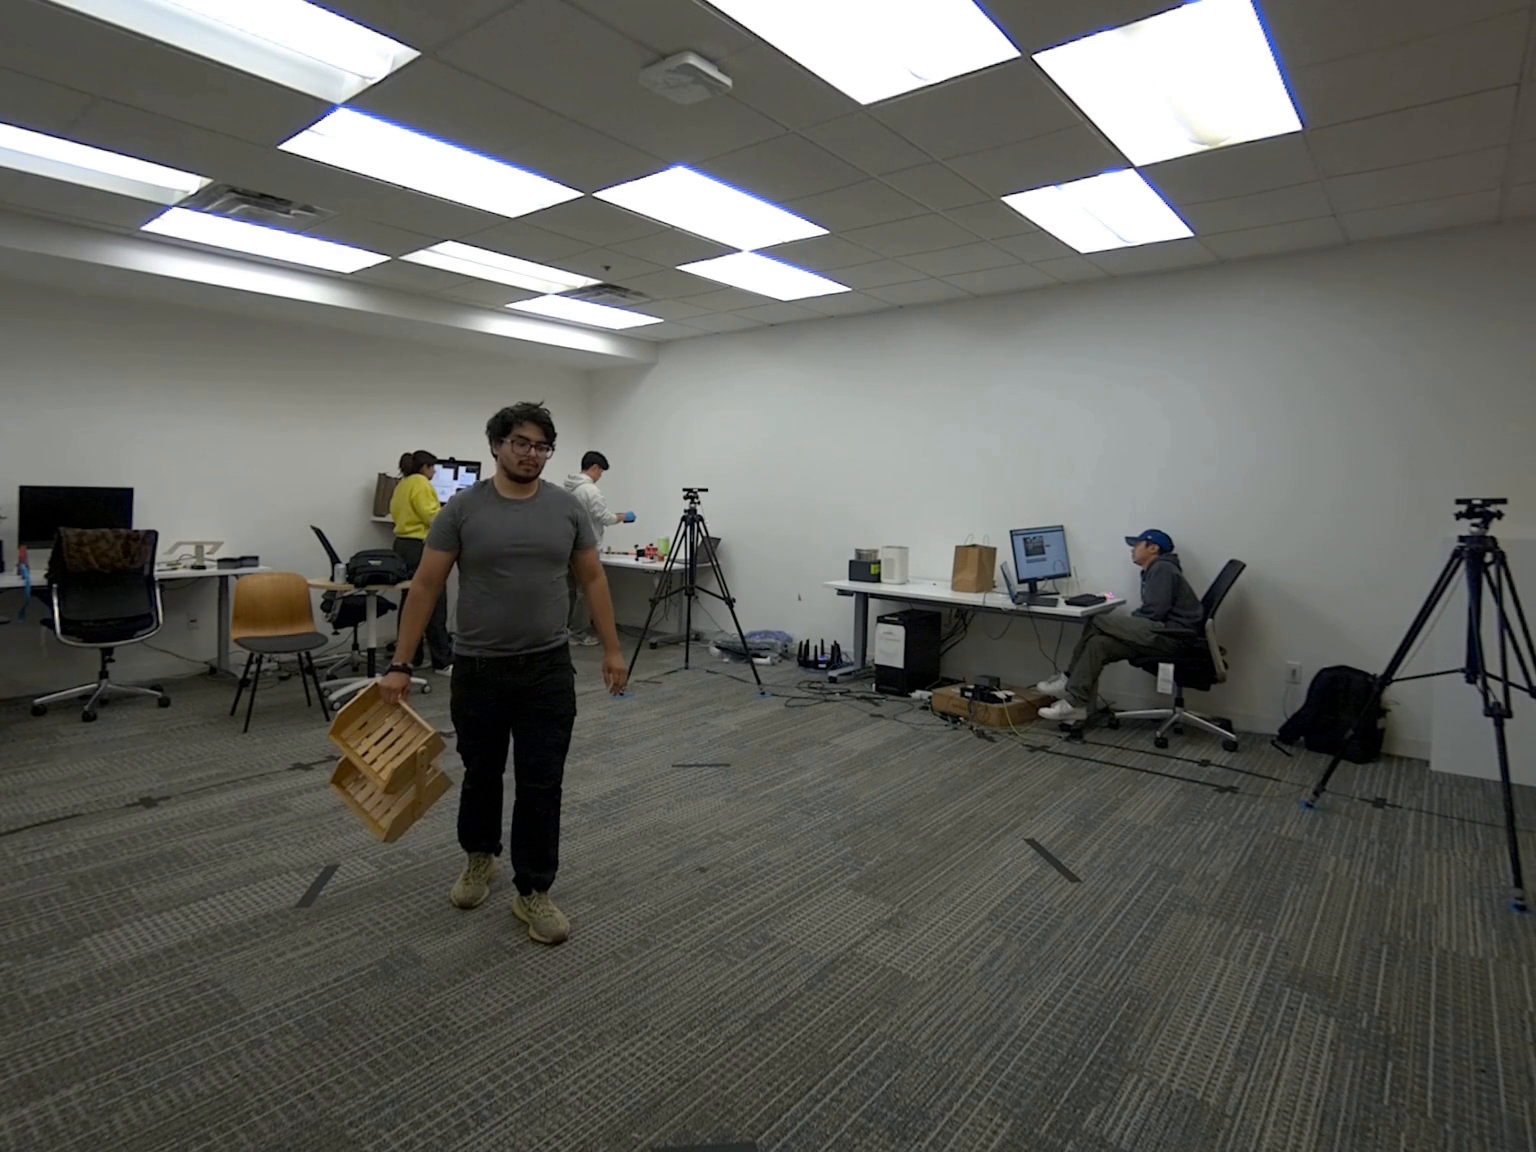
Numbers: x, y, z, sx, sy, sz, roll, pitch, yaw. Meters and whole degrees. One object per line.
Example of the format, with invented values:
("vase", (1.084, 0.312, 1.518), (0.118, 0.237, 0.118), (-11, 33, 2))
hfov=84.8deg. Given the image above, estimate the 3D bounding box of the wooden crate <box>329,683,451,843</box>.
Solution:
("wooden crate", (-1.154, 0.553, 2.535), (0.336, 0.264, 0.301), (28, 60, 27))
